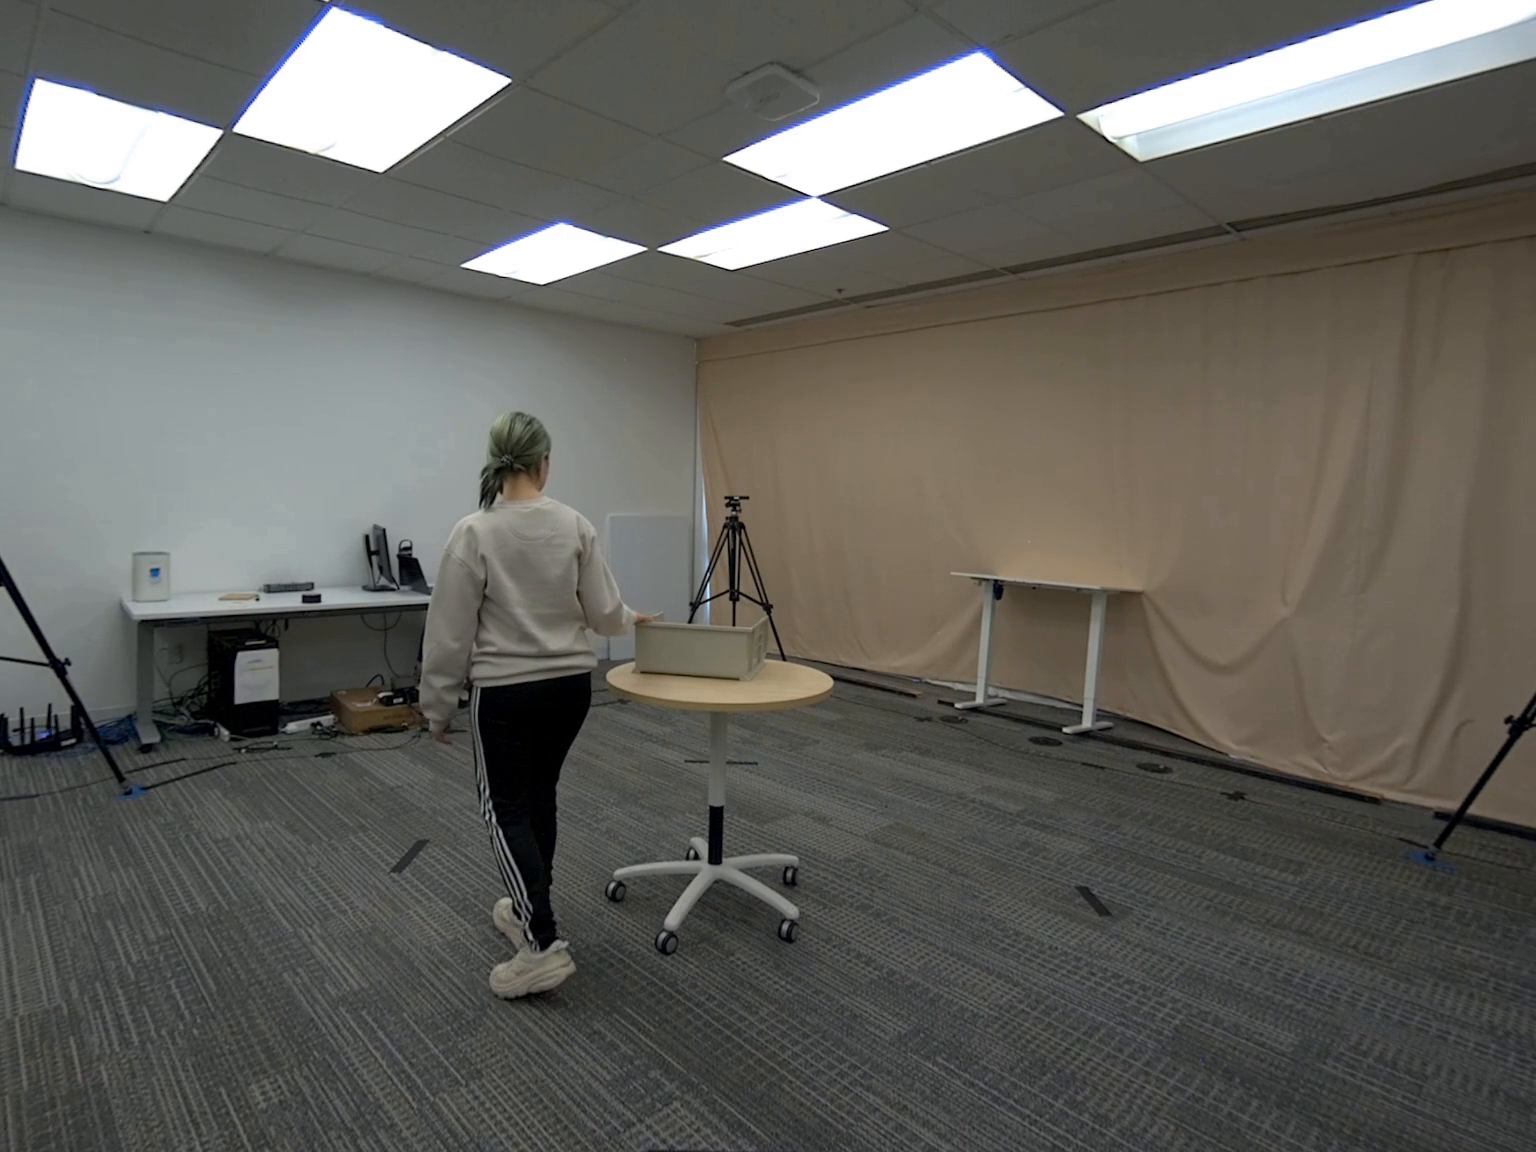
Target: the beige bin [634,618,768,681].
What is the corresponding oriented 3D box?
[{"bbox_3d":[-0.236,0.234,2.983,0.426,0.188,0.376,3,7,10],"label":"beige bin"}]
